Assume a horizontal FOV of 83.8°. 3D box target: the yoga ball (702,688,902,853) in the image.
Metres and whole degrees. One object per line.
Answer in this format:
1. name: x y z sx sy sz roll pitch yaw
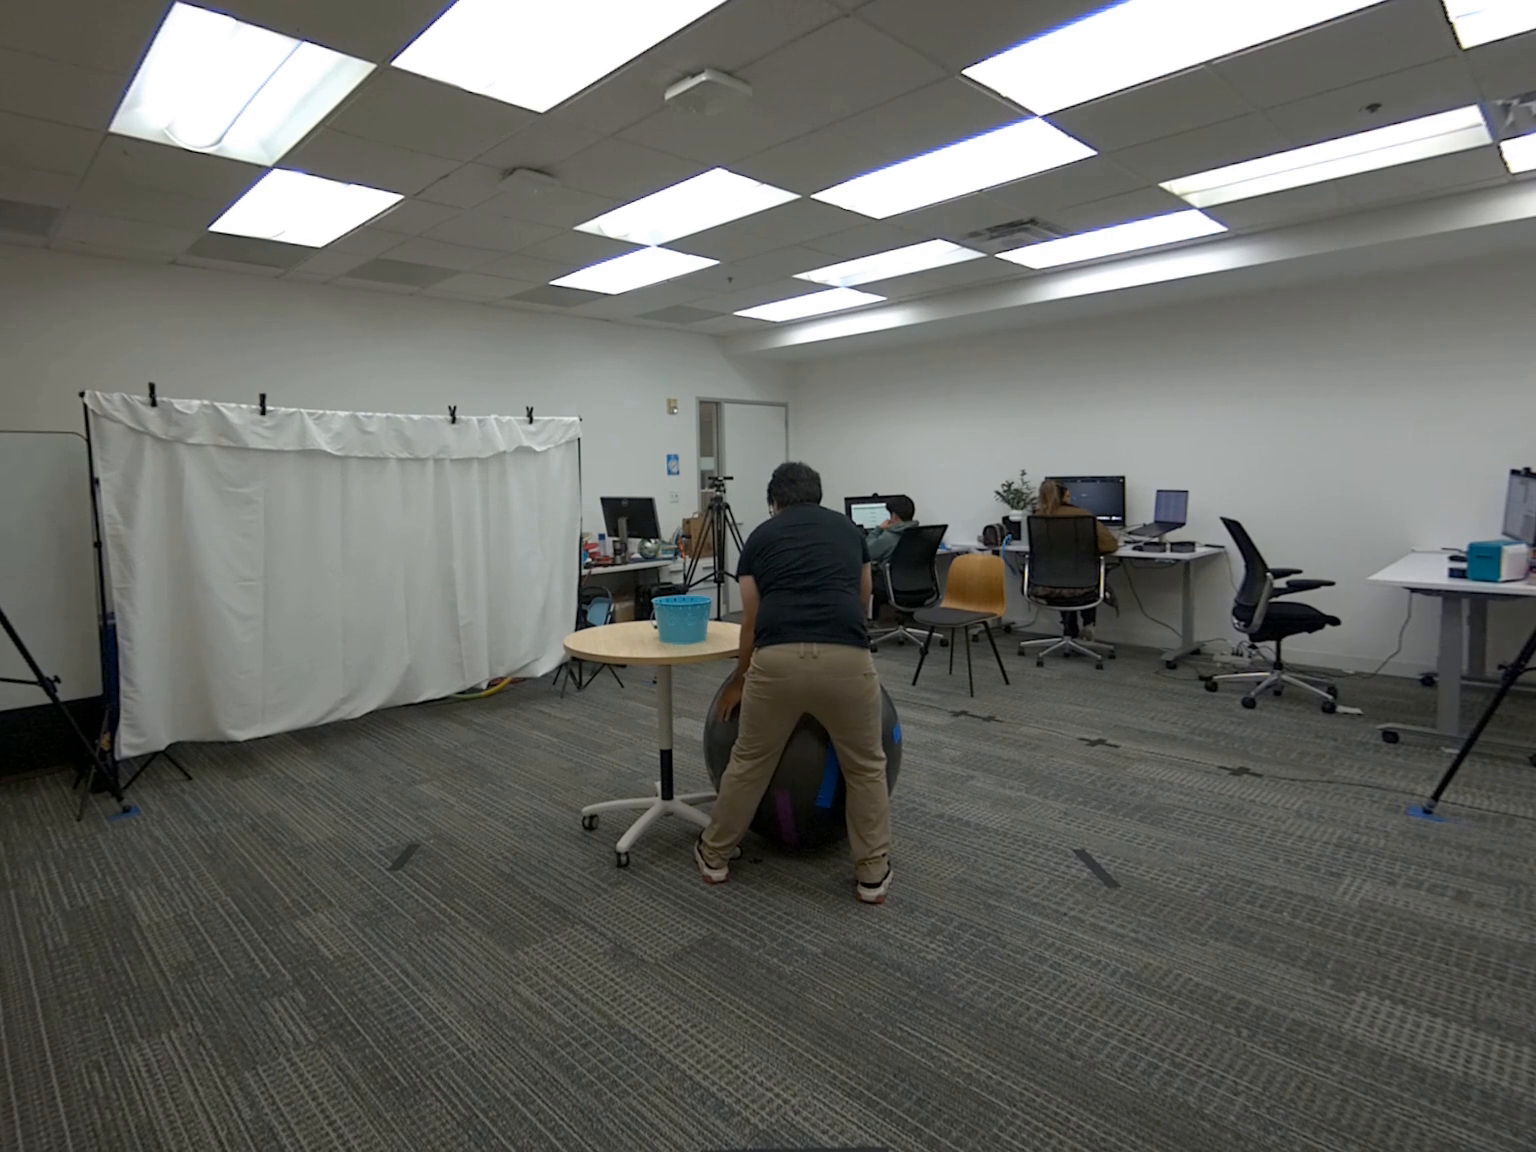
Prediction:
1. yoga ball: 0.144 0.649 3.306 0.757 0.755 0.762 -1 5 -2
